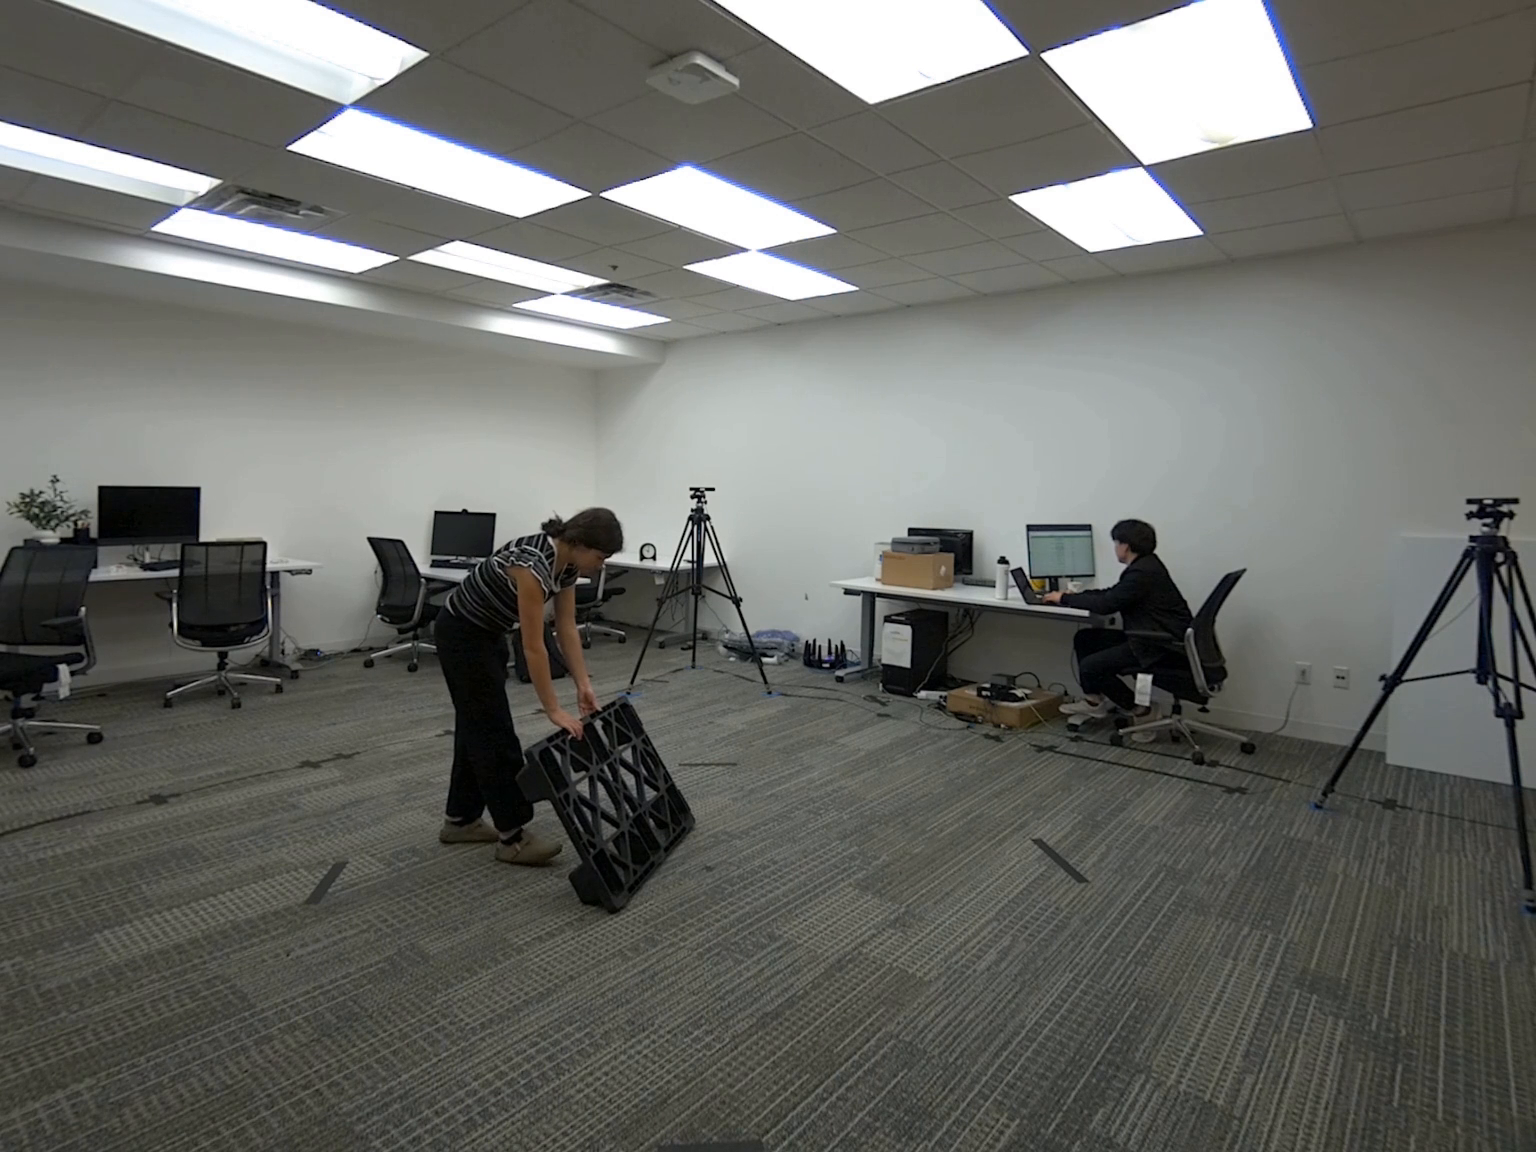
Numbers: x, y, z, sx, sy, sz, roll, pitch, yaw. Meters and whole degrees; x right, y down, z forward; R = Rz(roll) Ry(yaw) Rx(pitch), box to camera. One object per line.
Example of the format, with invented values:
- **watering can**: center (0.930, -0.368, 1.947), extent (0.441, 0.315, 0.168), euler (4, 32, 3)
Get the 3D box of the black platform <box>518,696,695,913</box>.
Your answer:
- **black platform**: center (-0.602, 0.819, 3.183), extent (0.144, 0.610, 0.794), euler (-31, -4, 15)
